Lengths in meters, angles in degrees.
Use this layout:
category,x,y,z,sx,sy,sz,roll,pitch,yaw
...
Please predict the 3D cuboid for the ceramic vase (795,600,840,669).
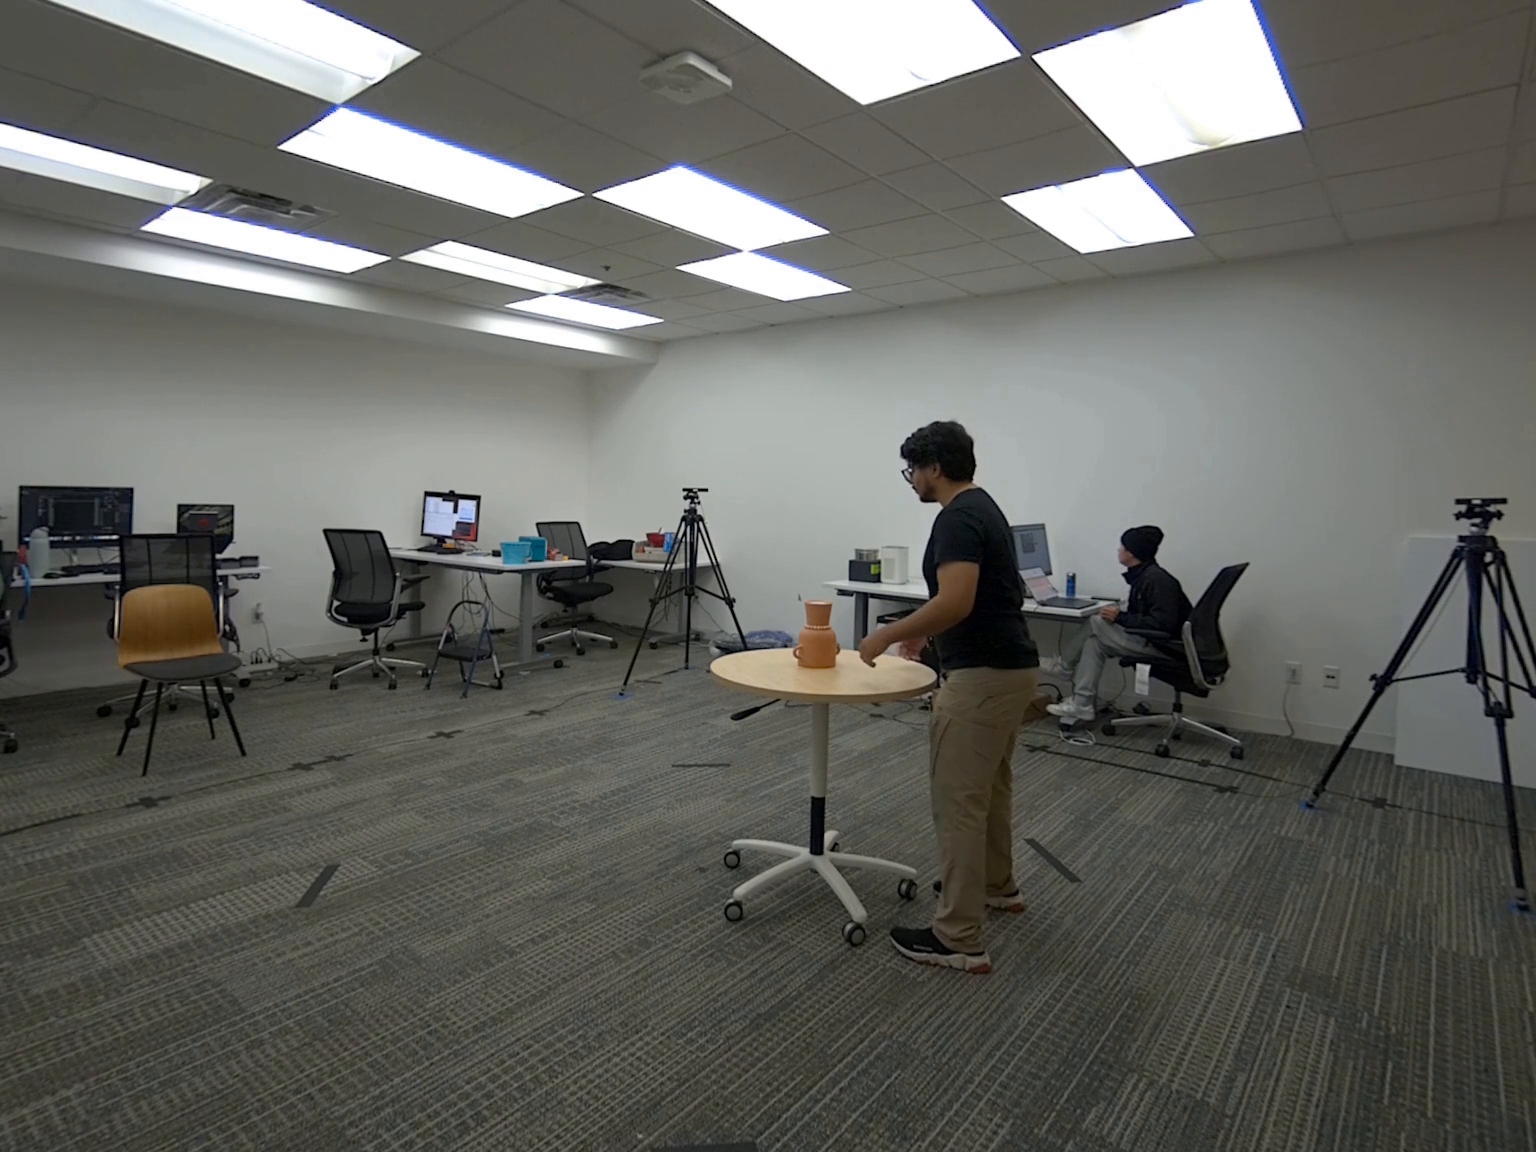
category,x,y,z,sx,sy,sz,roll,pitch,yaw
ceramic vase,0.171,0.200,2.971,0.138,0.219,0.156,3,4,22
